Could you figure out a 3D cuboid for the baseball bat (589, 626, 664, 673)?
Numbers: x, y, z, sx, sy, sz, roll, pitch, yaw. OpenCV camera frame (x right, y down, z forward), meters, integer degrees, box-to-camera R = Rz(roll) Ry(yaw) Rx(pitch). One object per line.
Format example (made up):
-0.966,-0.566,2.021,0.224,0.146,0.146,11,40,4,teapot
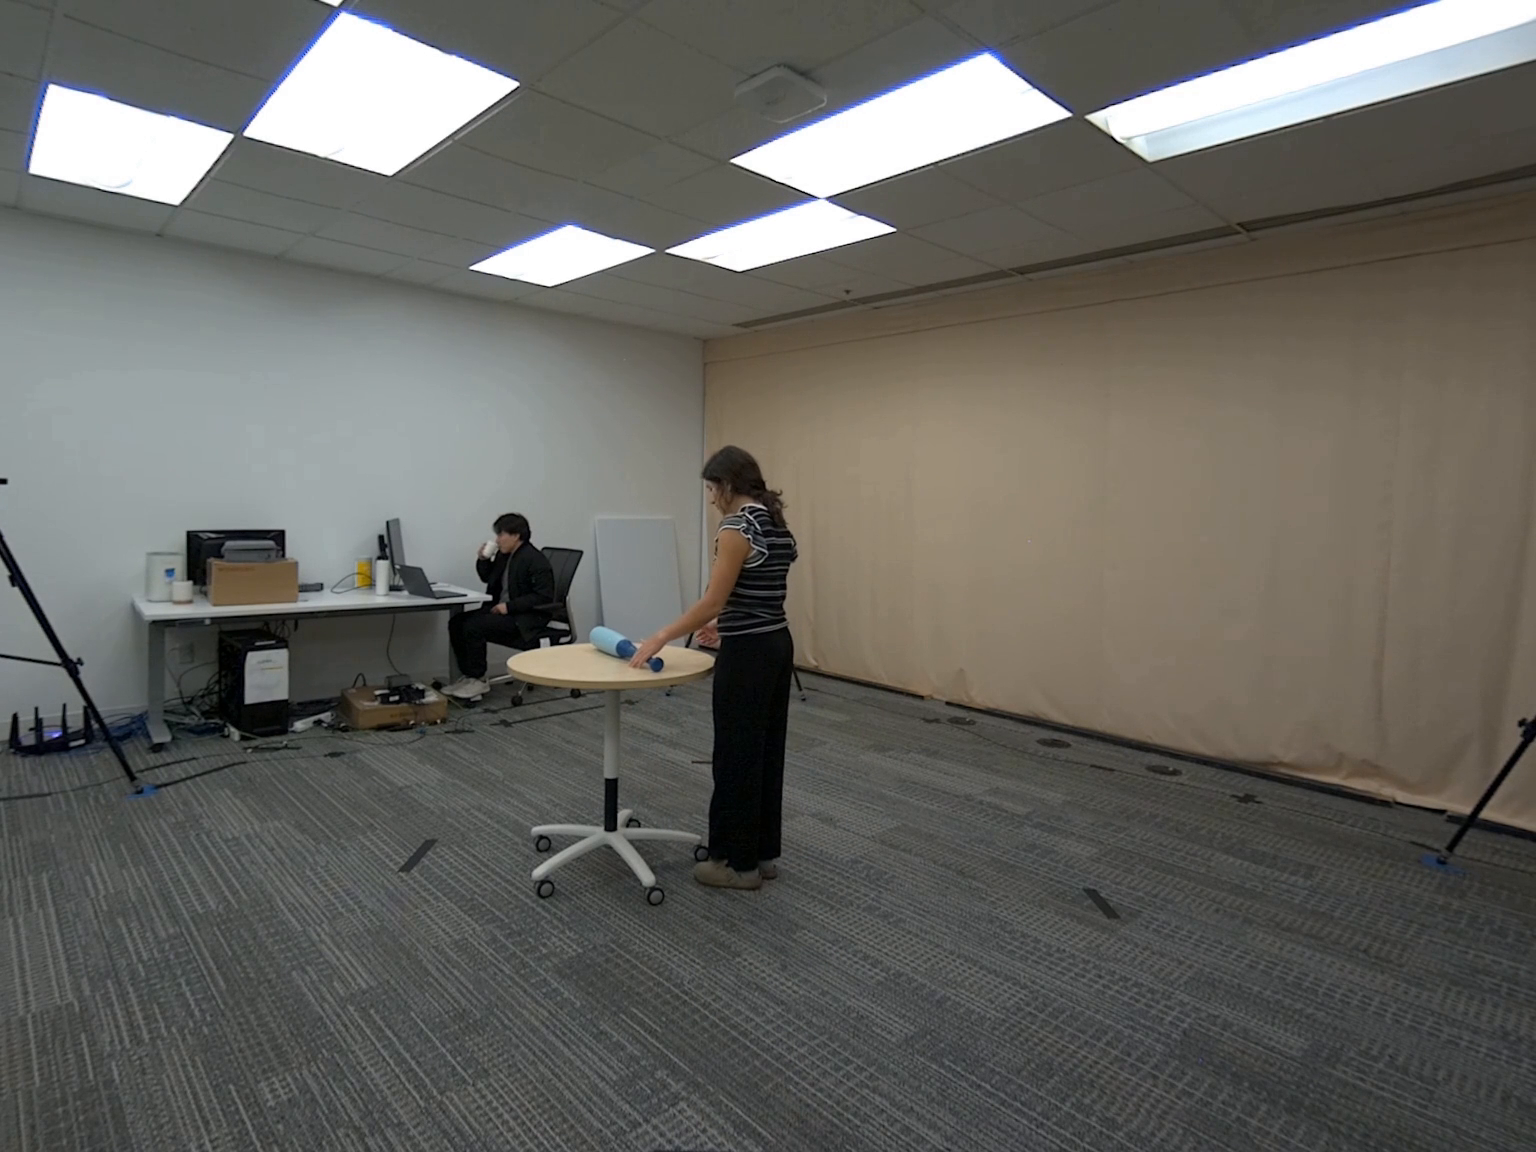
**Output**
-0.529,0.275,3.133,0.087,0.089,0.556,-1,7,-33,baseball bat
